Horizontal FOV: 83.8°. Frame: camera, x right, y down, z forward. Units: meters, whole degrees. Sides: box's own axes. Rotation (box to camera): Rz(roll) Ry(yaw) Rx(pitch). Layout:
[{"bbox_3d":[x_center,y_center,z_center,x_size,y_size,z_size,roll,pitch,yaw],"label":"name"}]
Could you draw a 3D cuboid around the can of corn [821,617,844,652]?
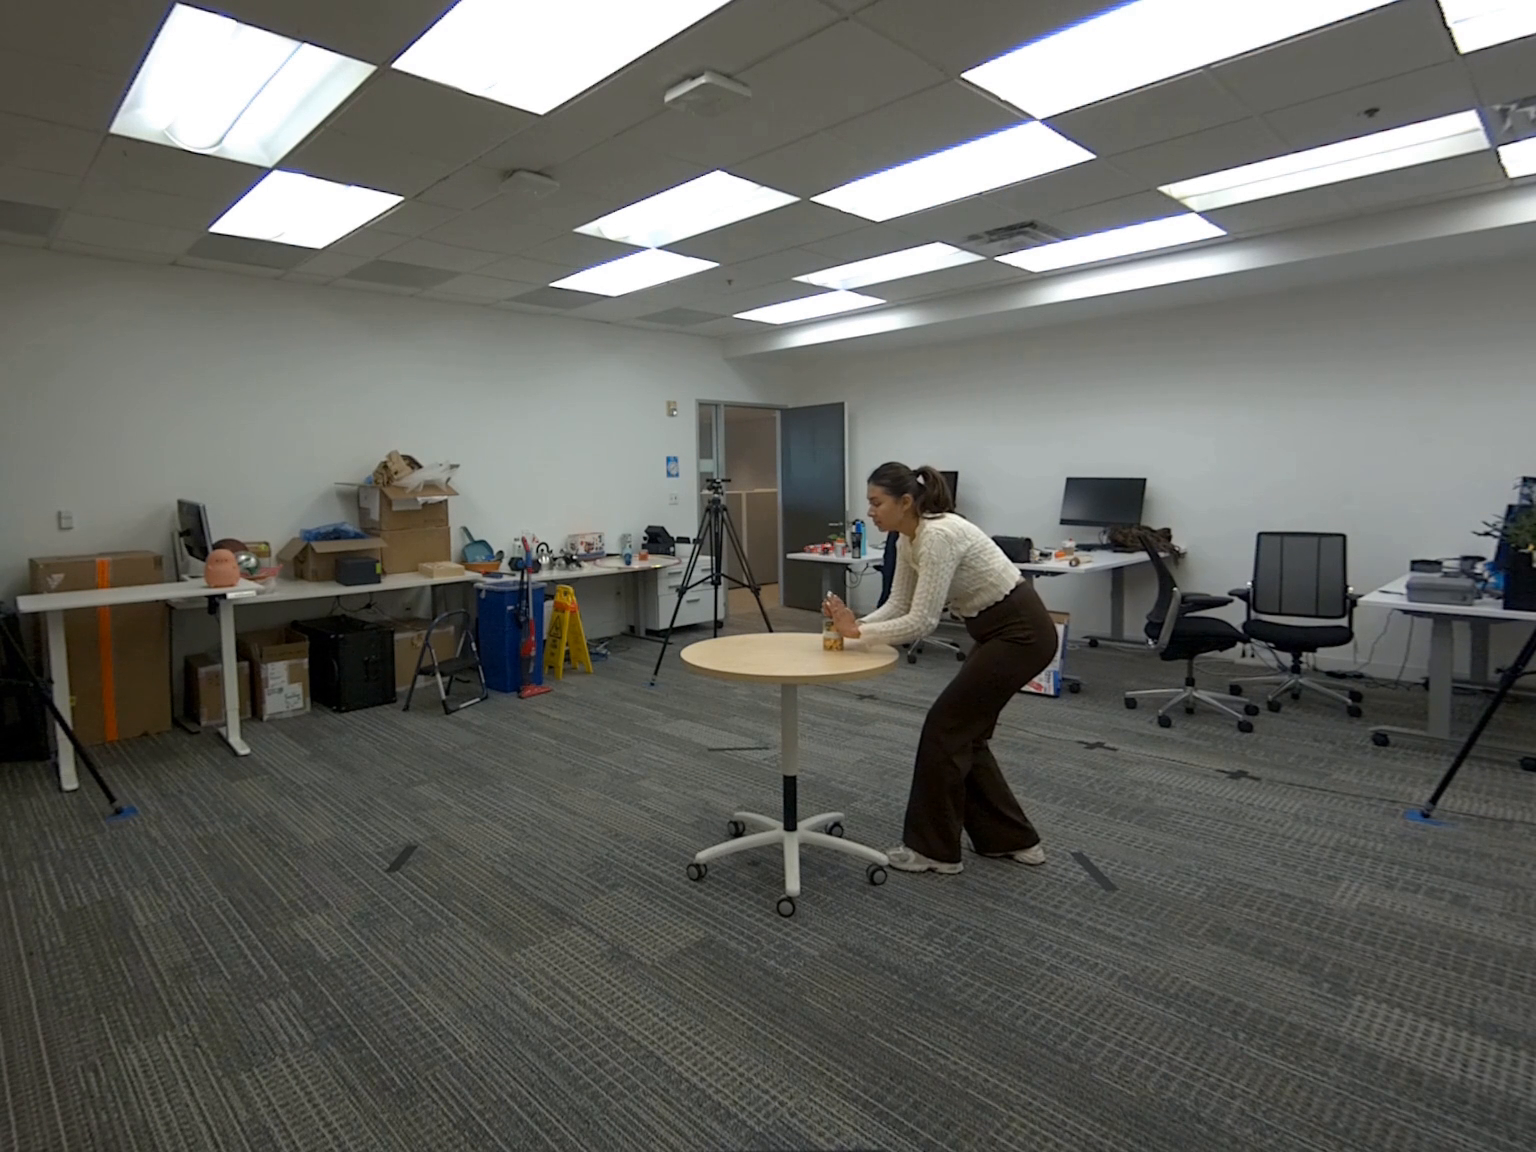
[{"bbox_3d":[0.253,0.206,3.057,0.074,0.110,0.074,0,5,-2],"label":"can of corn"}]
